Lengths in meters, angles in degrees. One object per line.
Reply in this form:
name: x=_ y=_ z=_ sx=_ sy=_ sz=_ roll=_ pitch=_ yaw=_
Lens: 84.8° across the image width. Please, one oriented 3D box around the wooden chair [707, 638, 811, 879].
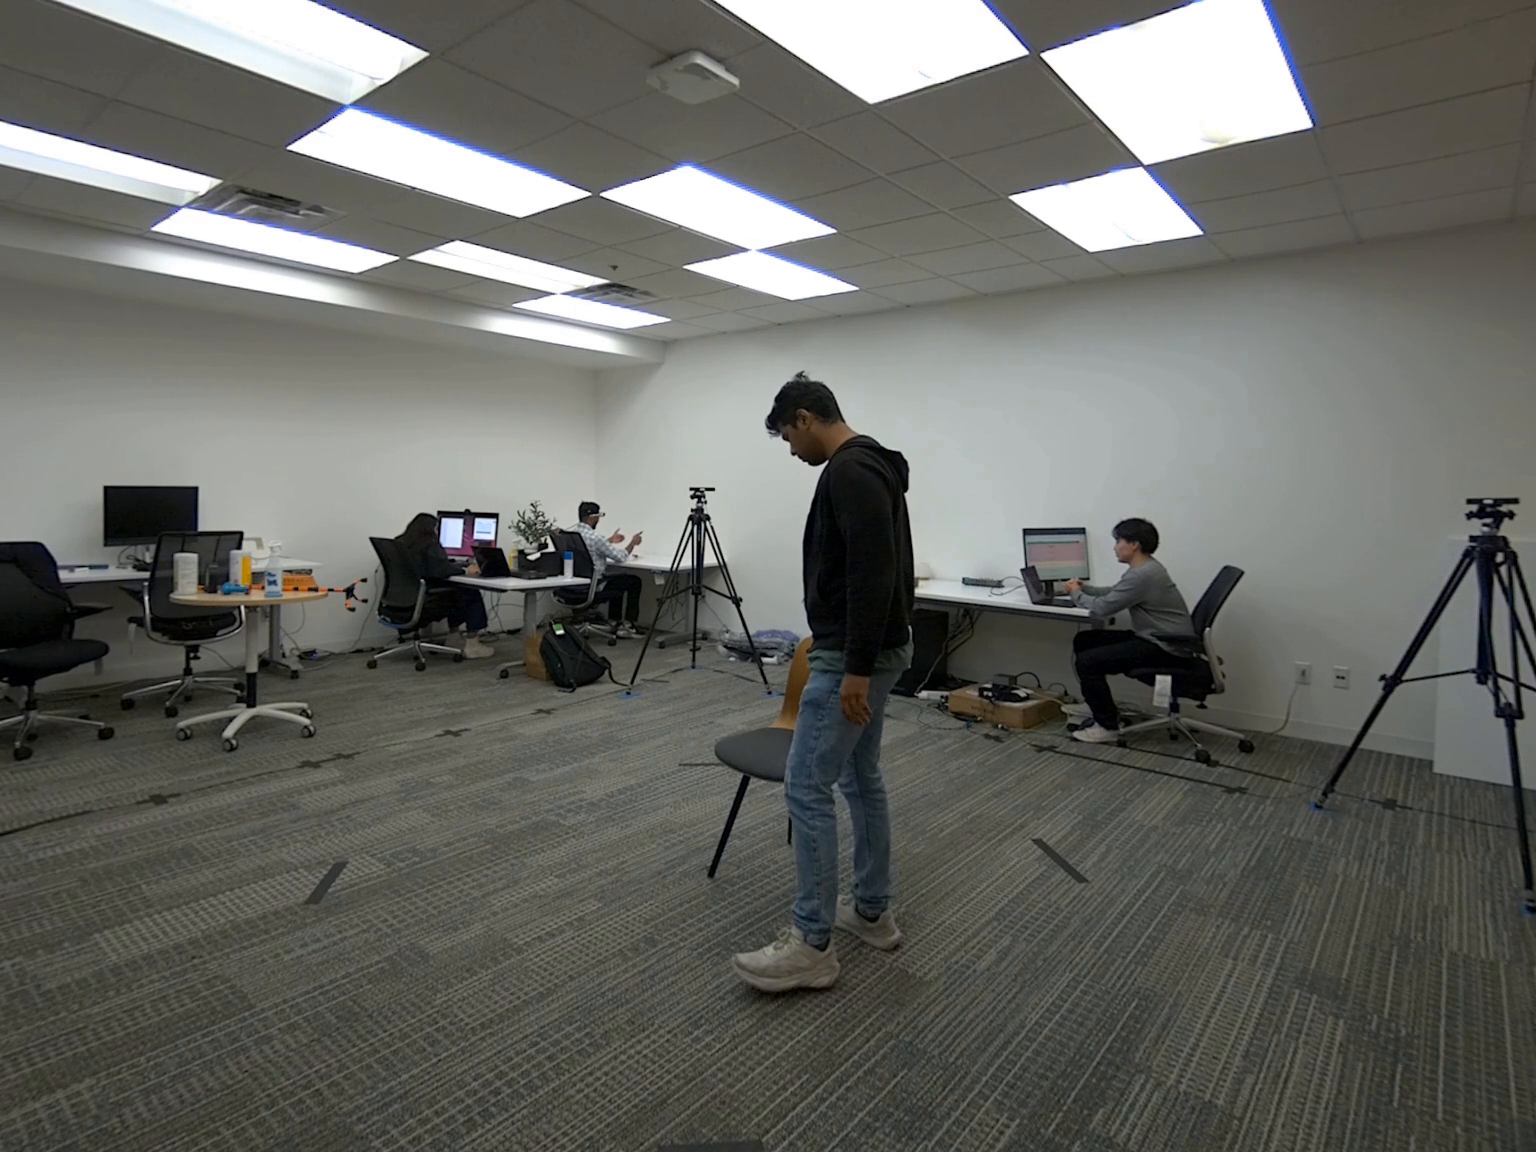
wooden chair: x=0.095 y=0.654 z=3.010 sx=0.494 sy=0.877 sz=0.505 roll=5 pitch=0 yaw=43
